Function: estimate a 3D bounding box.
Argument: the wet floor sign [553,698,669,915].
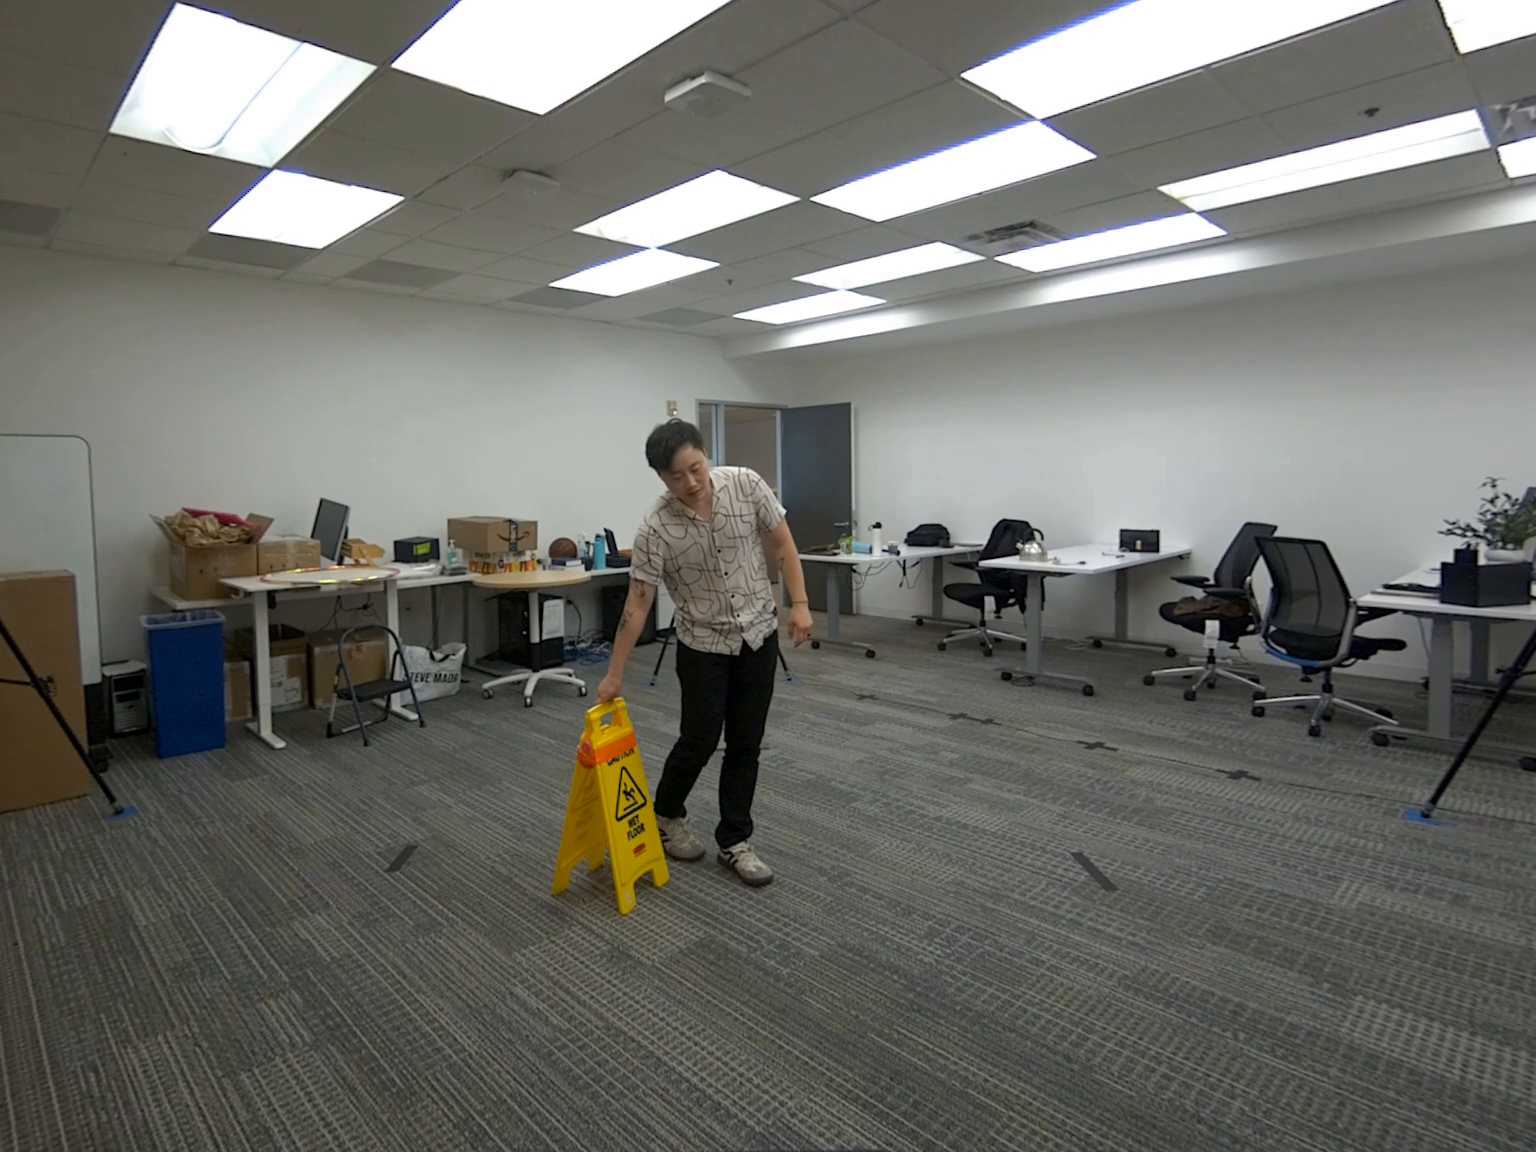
[{"bbox_3d":[-0.539,0.752,2.913,0.297,0.643,0.276,2,6,27],"label":"wet floor sign"}]
